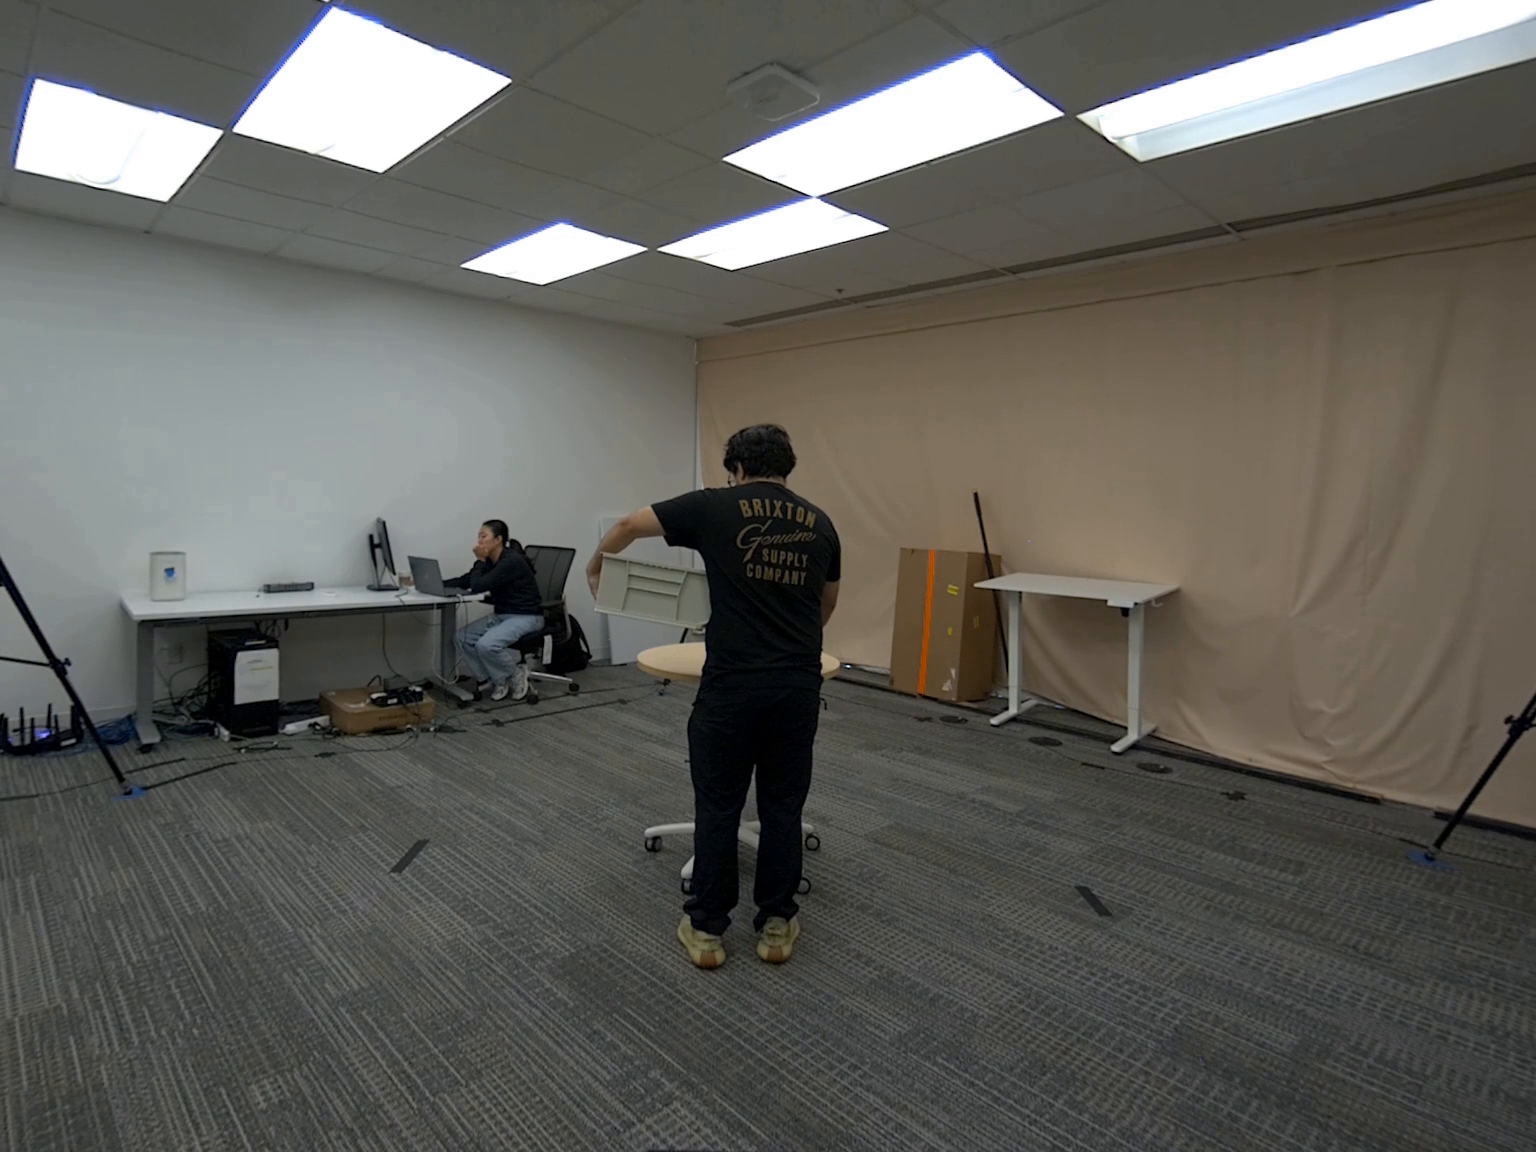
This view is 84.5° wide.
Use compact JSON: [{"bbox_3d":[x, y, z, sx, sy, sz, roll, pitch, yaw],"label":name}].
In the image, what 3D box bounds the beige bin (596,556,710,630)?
[{"bbox_3d":[-0.340,0.066,2.711,0.378,0.189,0.421,11,-3,0],"label":"beige bin"}]
